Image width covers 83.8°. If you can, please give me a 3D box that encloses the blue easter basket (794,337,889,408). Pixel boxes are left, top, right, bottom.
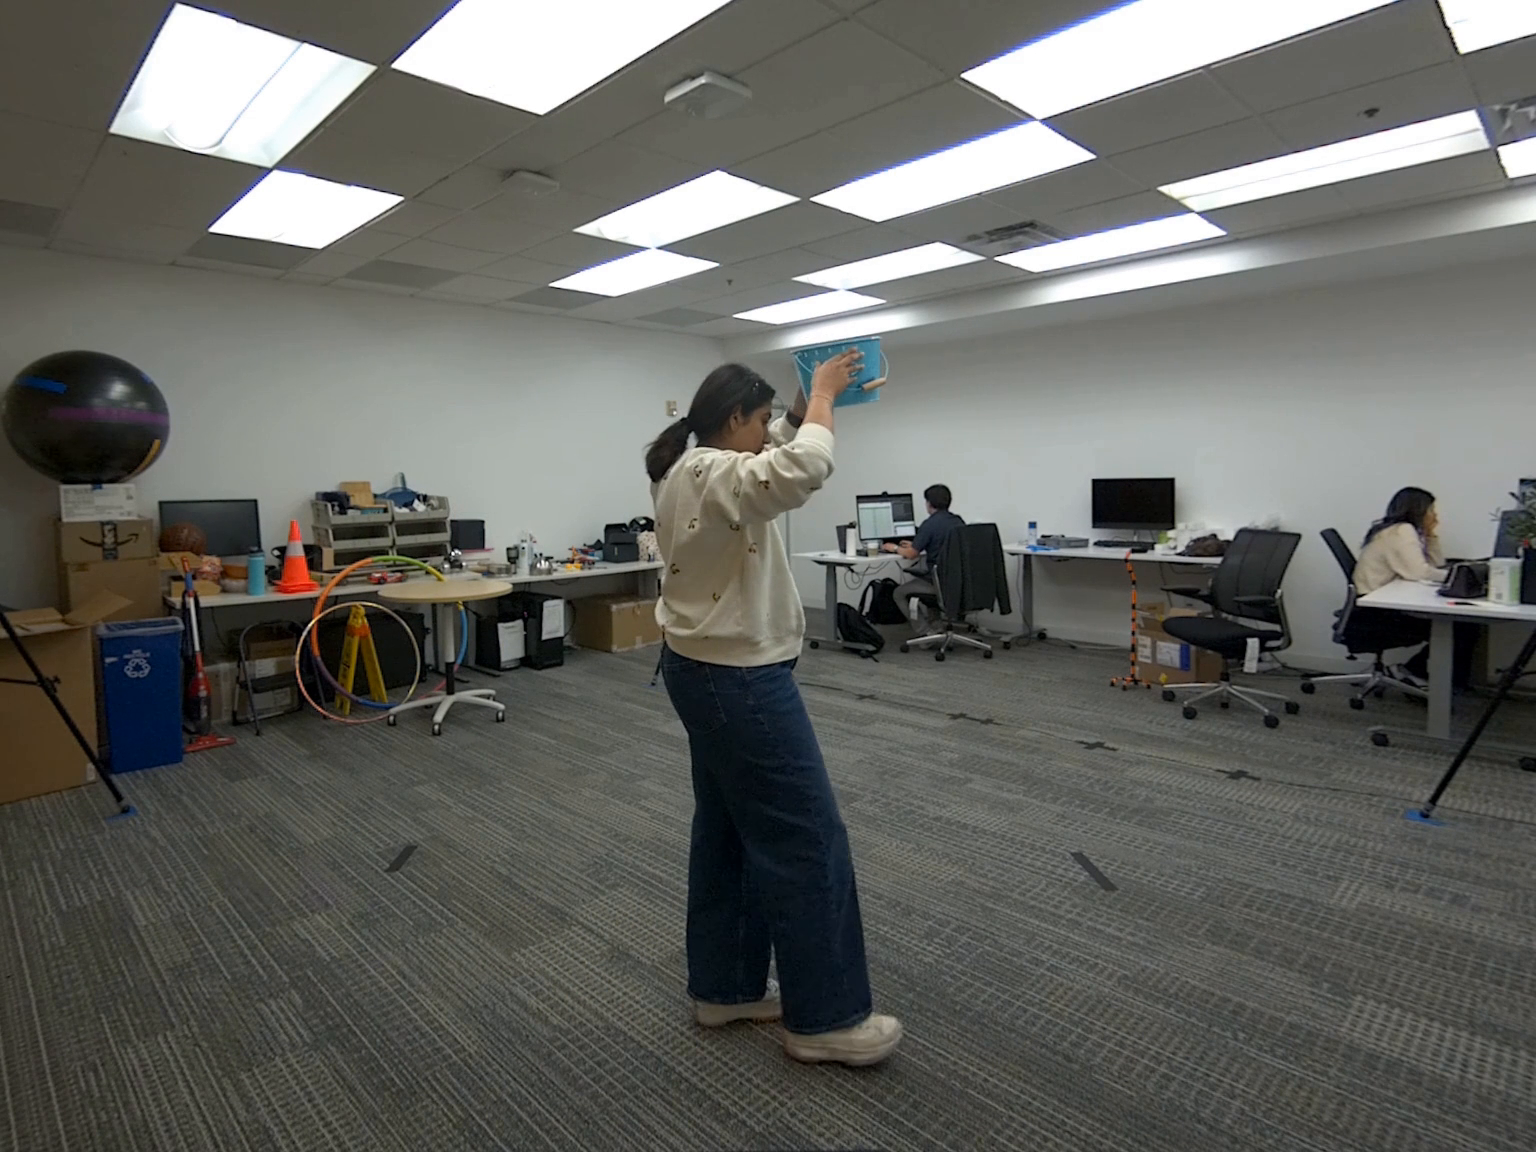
[{"bbox_3d":[0.183,-0.507,2.142,0.244,0.154,0.246,-10,9,0],"label":"blue easter basket"}]
